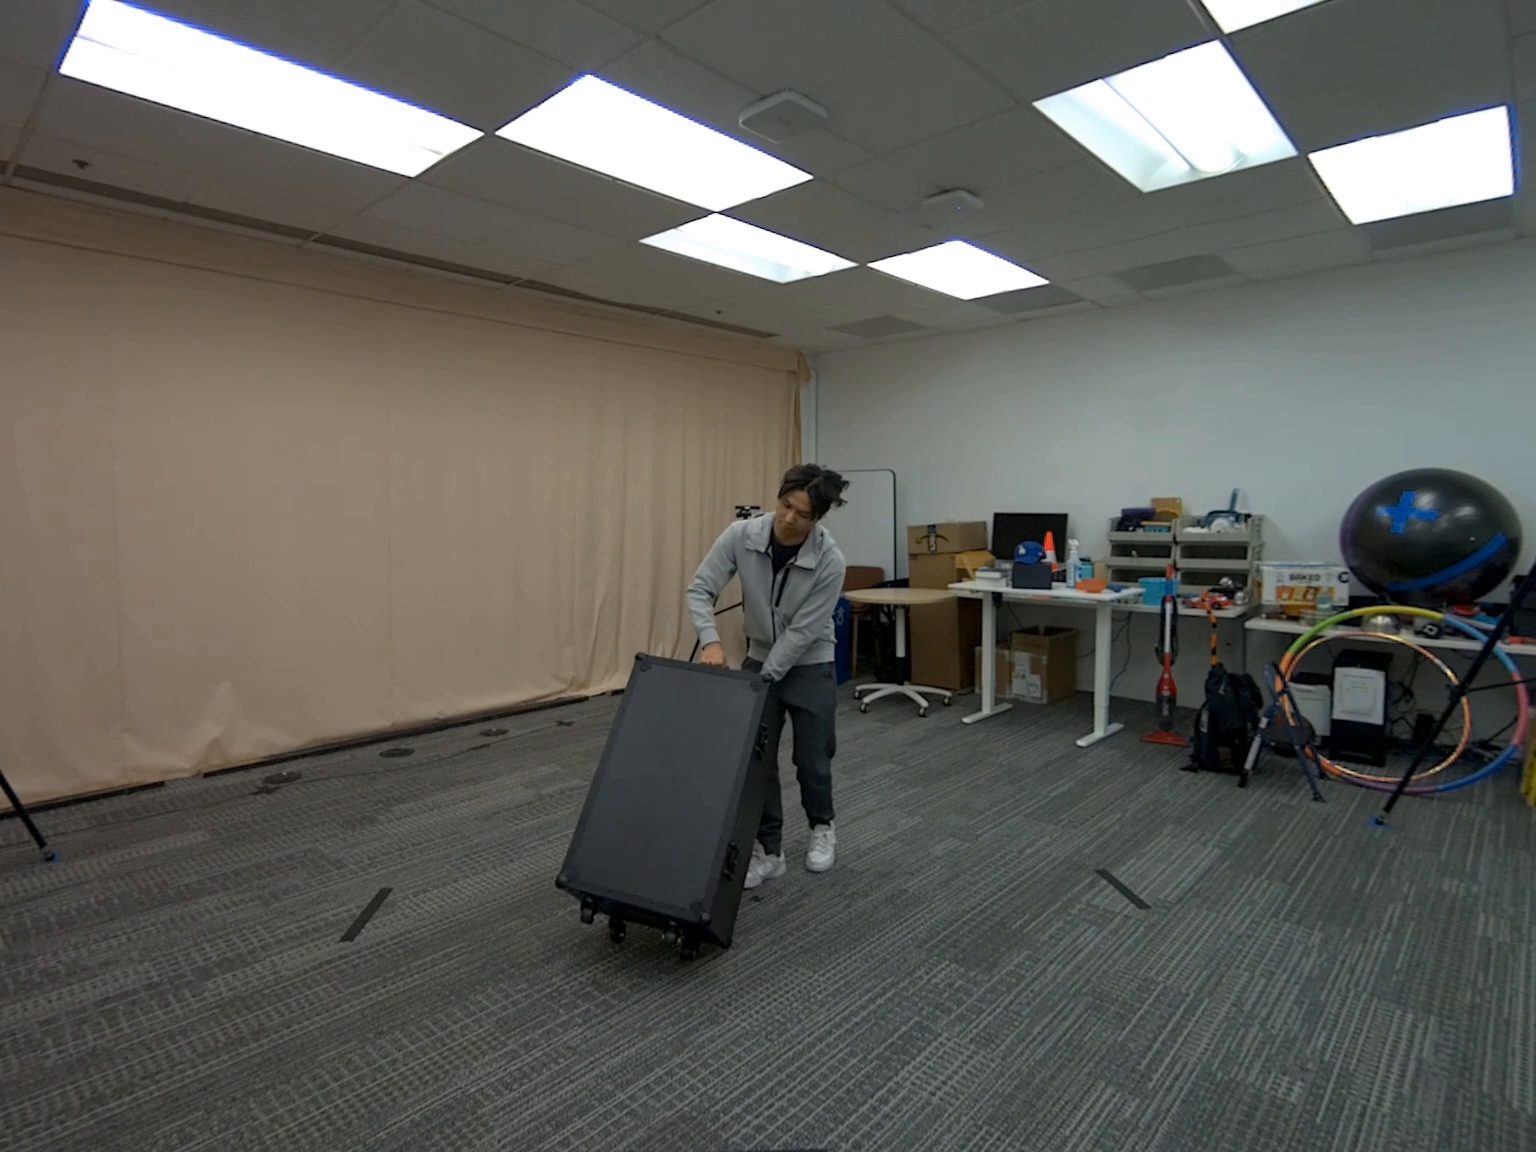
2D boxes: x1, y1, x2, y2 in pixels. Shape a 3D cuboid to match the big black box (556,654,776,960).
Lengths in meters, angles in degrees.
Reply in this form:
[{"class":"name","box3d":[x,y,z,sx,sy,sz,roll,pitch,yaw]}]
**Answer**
[{"class":"big black box","box3d":[-0.276,0.698,2.782,0.531,0.868,0.386,7,-31,15]}]
